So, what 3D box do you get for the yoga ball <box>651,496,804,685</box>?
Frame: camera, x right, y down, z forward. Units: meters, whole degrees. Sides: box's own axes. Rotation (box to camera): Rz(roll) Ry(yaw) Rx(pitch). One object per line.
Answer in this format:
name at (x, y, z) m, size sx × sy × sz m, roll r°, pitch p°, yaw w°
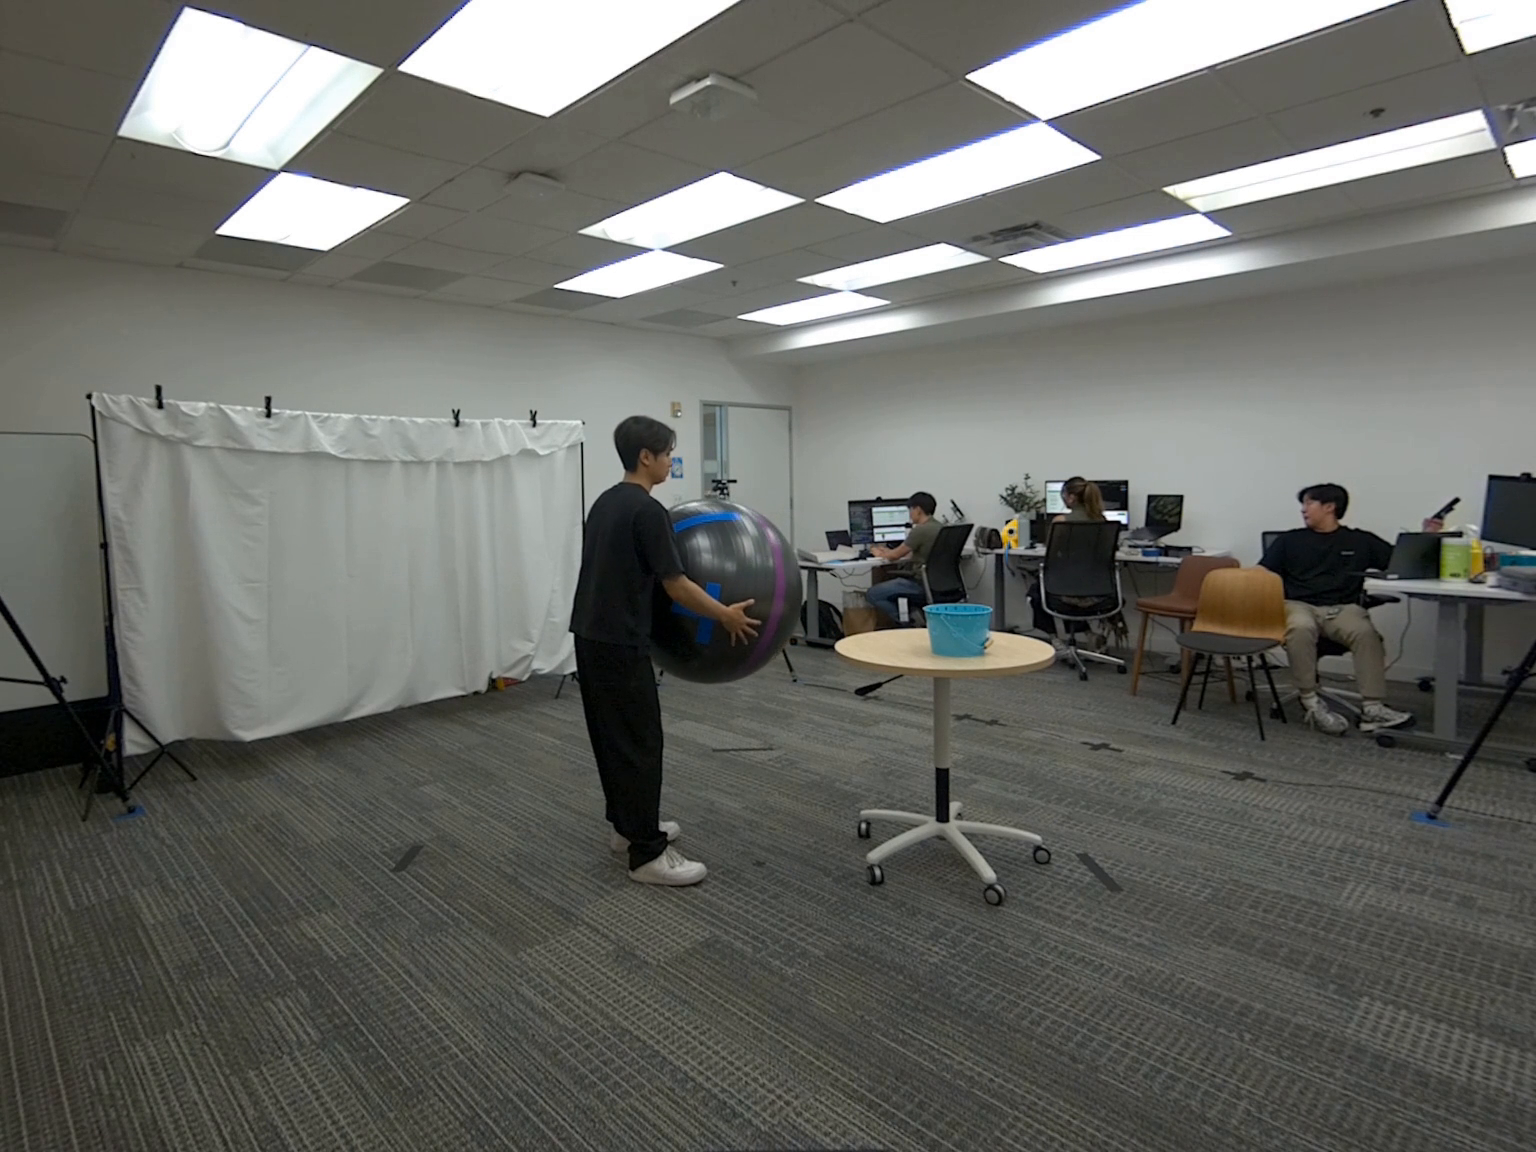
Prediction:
yoga ball at (-0.230, 0.067, 3.539) m, size 0.757 × 0.755 × 0.762 m, roll -1°, pitch 5°, yaw -2°
